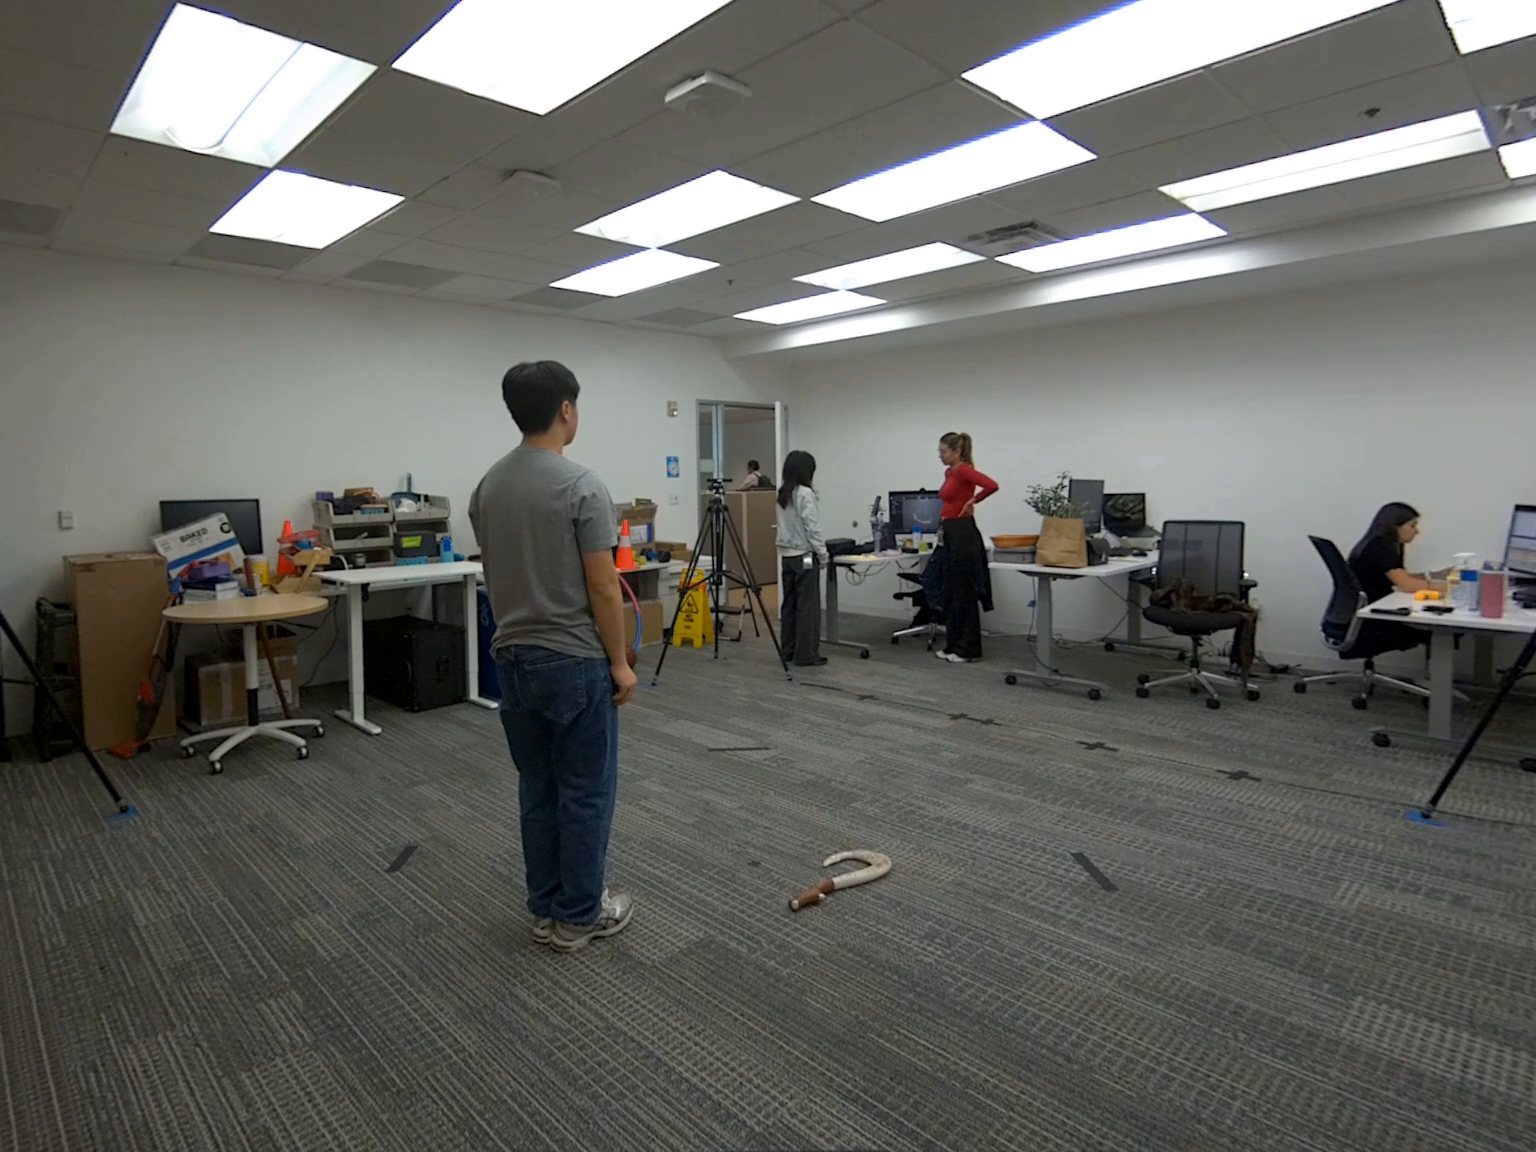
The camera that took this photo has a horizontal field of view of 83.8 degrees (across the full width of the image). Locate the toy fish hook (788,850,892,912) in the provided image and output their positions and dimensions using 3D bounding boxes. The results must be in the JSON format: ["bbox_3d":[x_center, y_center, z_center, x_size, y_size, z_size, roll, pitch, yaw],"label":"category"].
[{"bbox_3d":[0.223,1.043,2.954,0.493,0.048,0.230,-6,1,-42],"label":"toy fish hook"}]
